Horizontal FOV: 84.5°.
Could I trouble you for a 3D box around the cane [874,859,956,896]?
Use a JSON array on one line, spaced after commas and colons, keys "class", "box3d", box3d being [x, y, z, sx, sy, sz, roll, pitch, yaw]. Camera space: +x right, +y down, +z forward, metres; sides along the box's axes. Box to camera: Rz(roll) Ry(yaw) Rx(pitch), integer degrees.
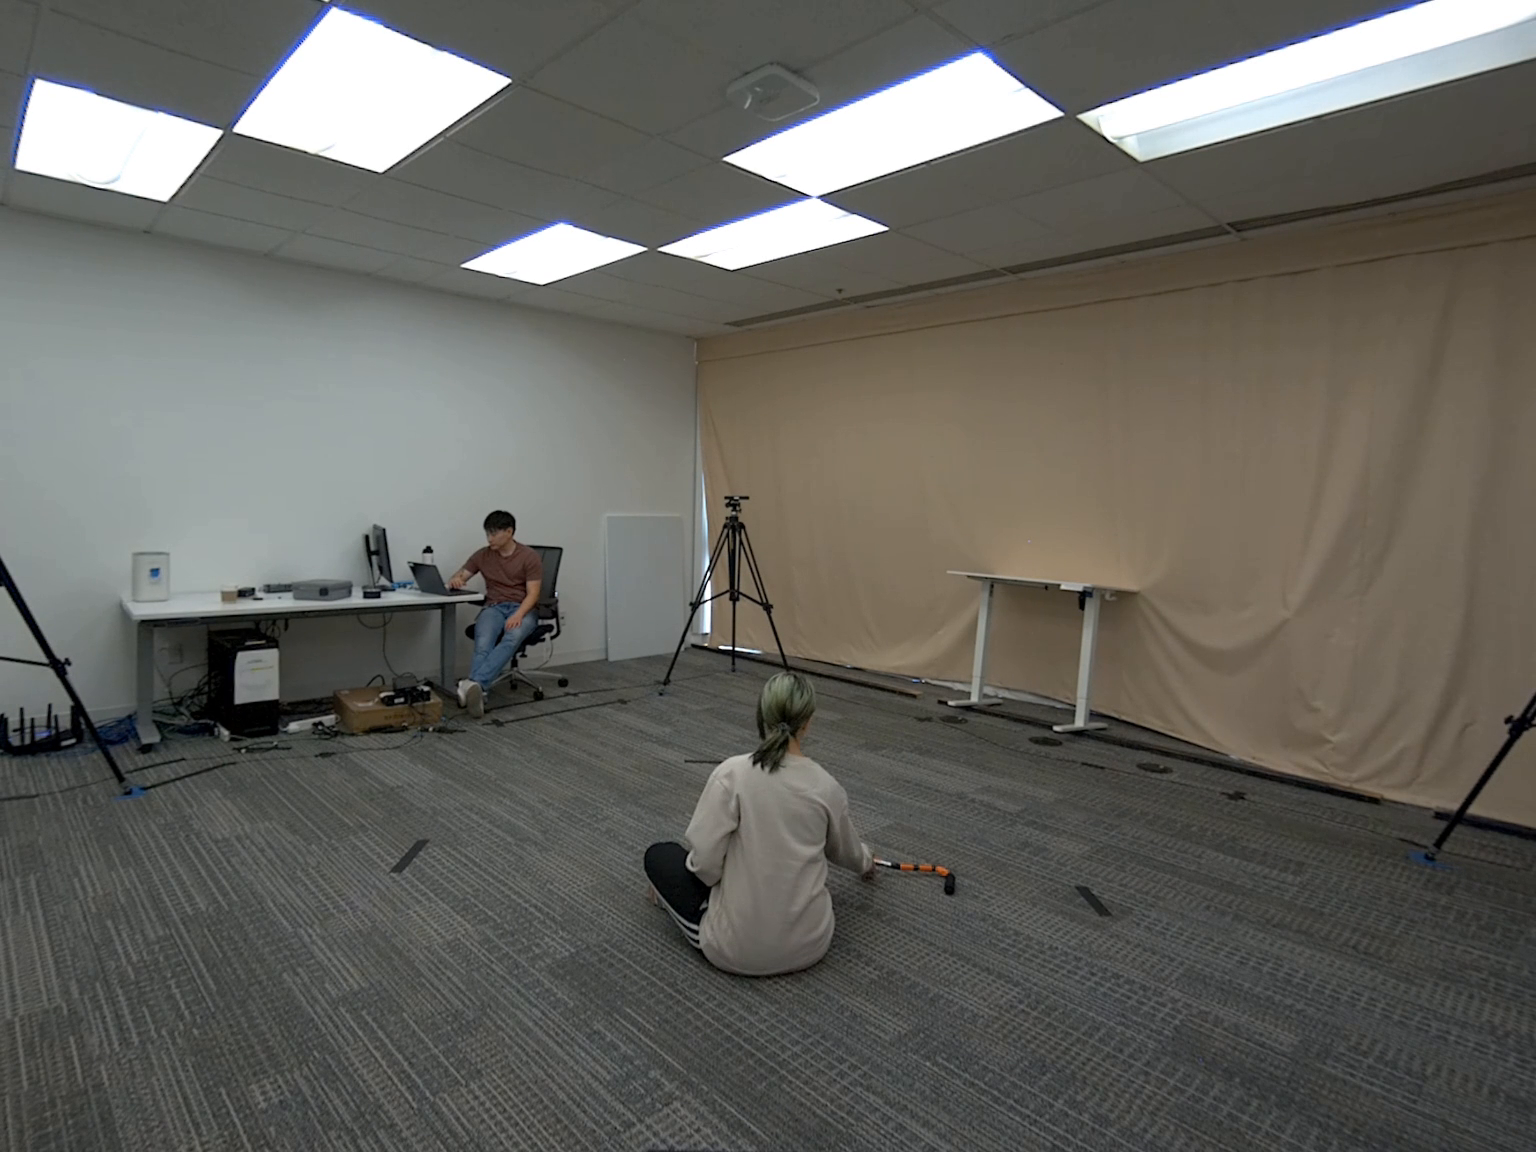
[{"class": "cane", "box3d": [0.239, 1.054, 3.210, 0.922, 0.151, 0.204, 8, 4, 17]}]
